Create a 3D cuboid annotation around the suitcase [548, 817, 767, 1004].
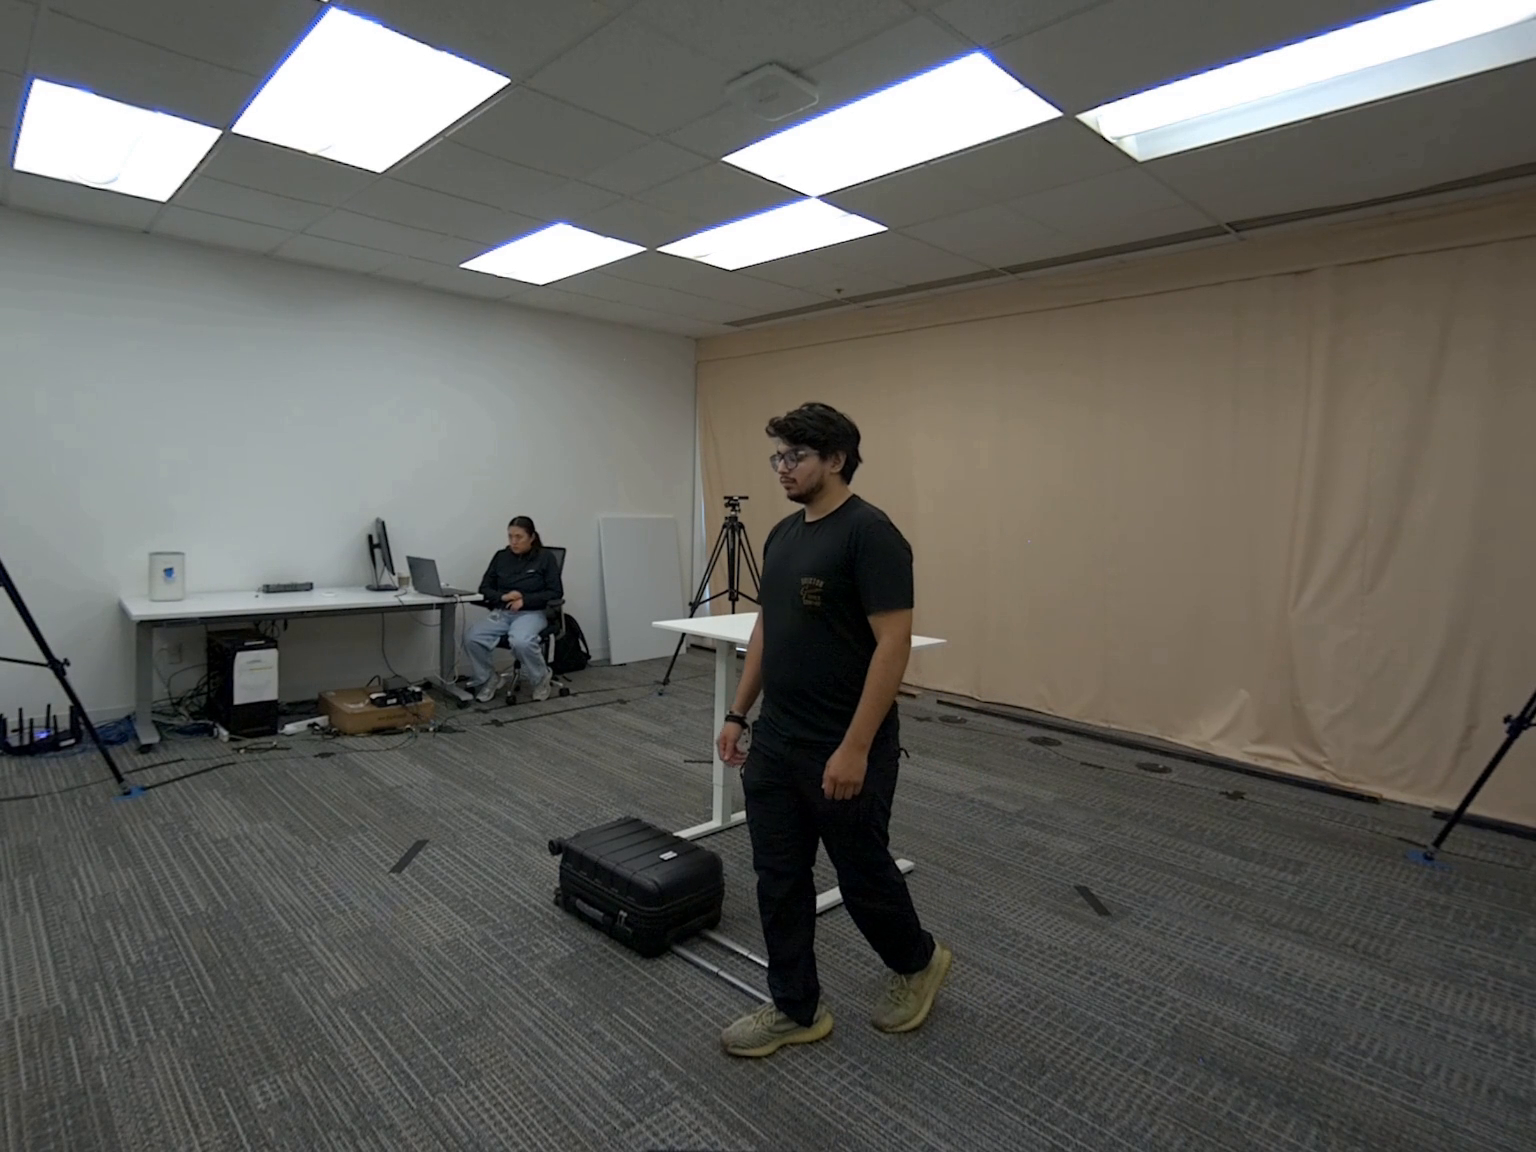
[{"bbox_3d":[-0.276,1.017,2.630,1.003,0.257,0.375,4,4,42],"label":"suitcase"}]
